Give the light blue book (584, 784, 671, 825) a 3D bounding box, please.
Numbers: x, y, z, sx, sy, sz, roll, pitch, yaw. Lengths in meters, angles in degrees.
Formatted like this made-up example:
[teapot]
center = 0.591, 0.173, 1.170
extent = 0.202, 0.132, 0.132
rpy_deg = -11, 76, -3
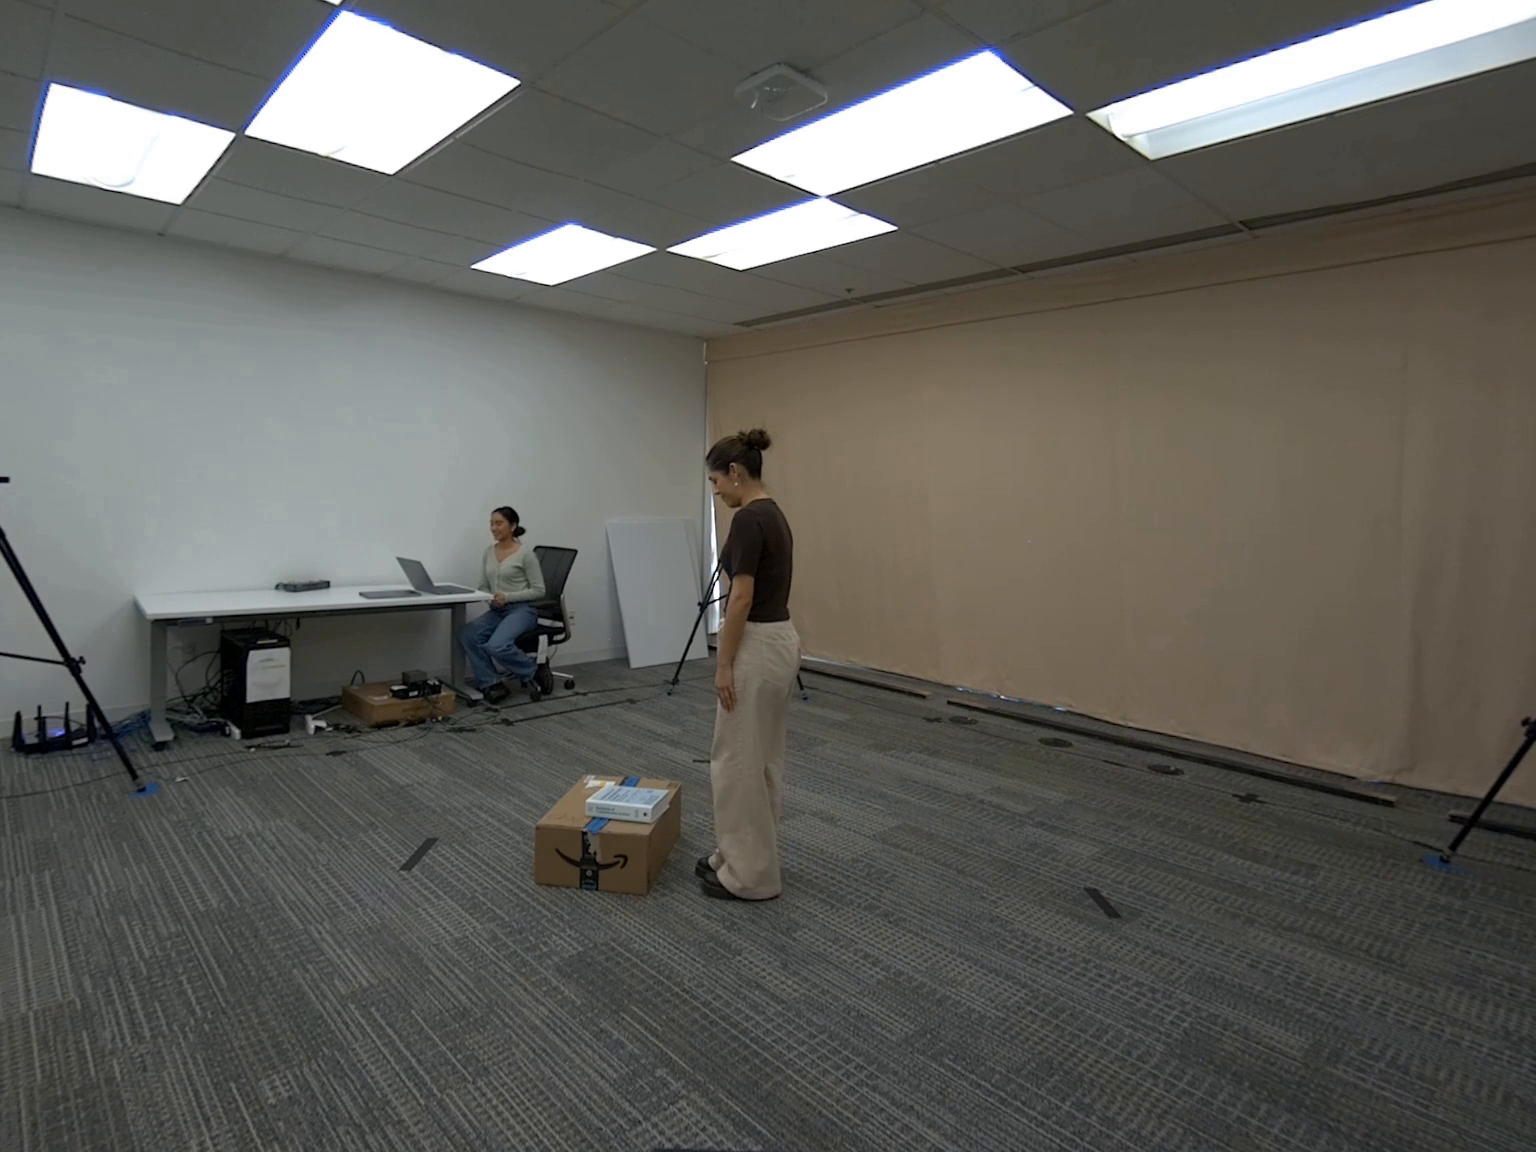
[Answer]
[light blue book]
center = -0.526, 0.844, 3.149
extent = 0.264, 0.059, 0.189
rpy_deg = 2, 4, 16
